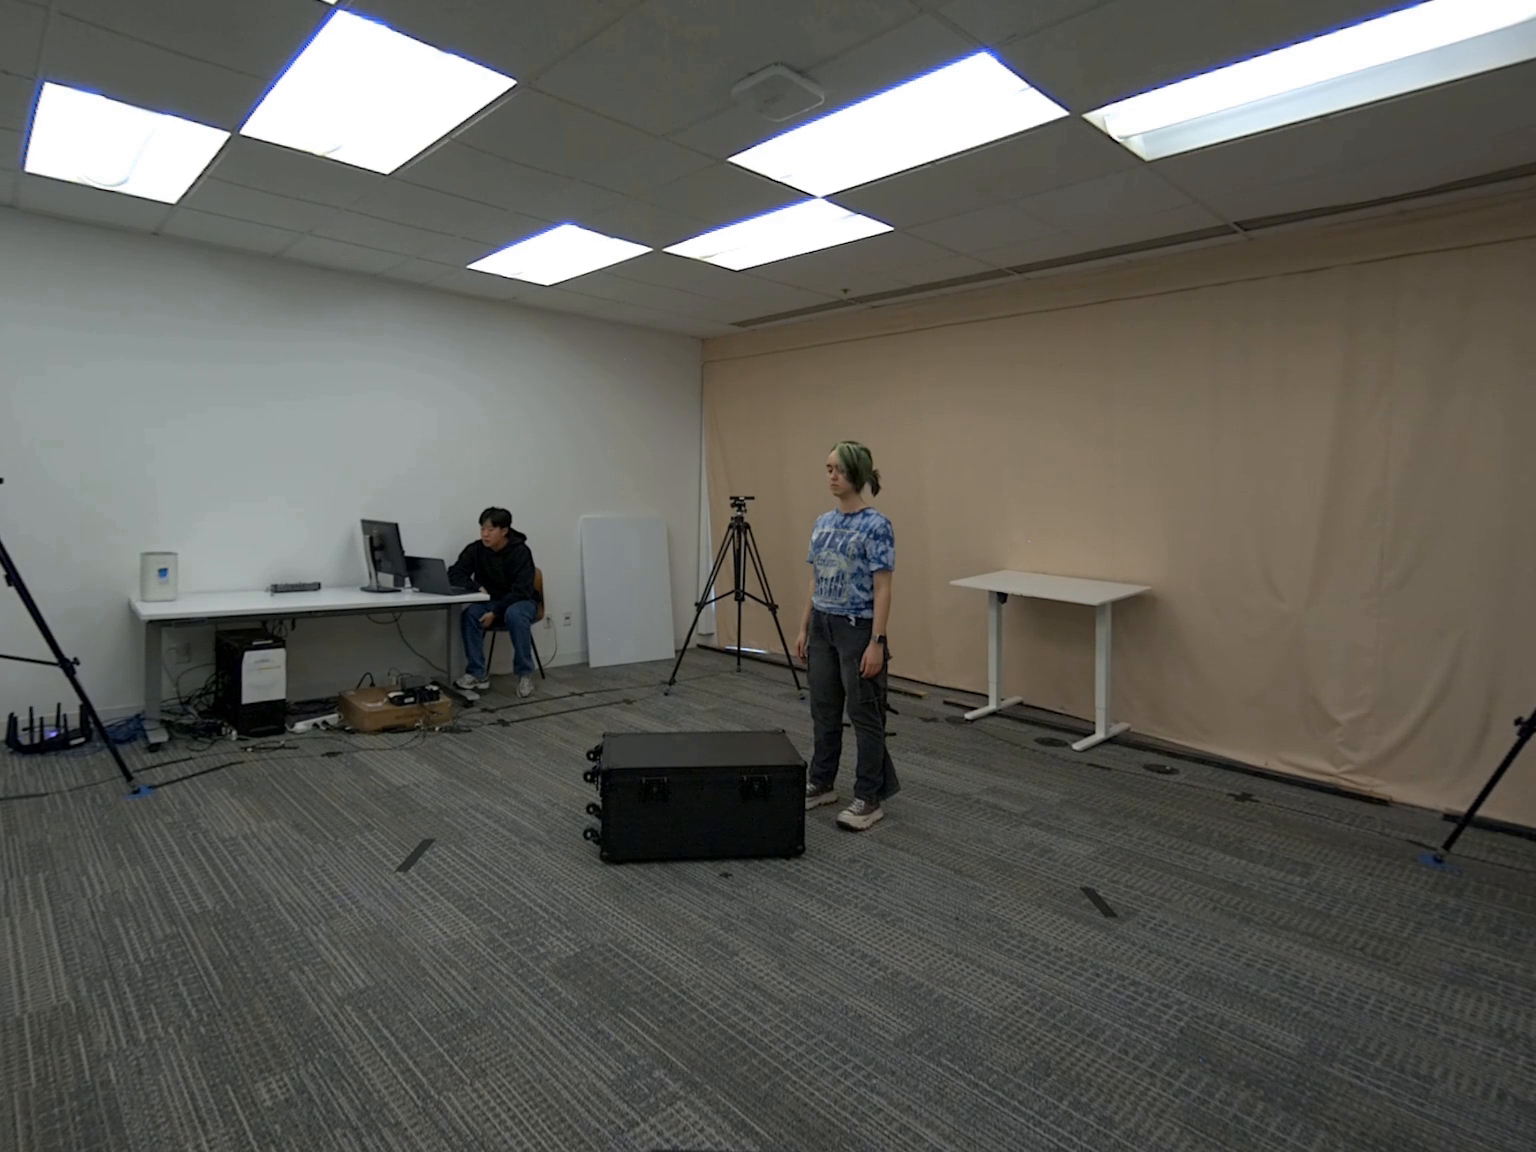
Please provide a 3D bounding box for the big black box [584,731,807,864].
[{"bbox_3d":[-0.260,0.881,3.420,0.856,0.395,0.526,1,5,-8],"label":"big black box"}]
